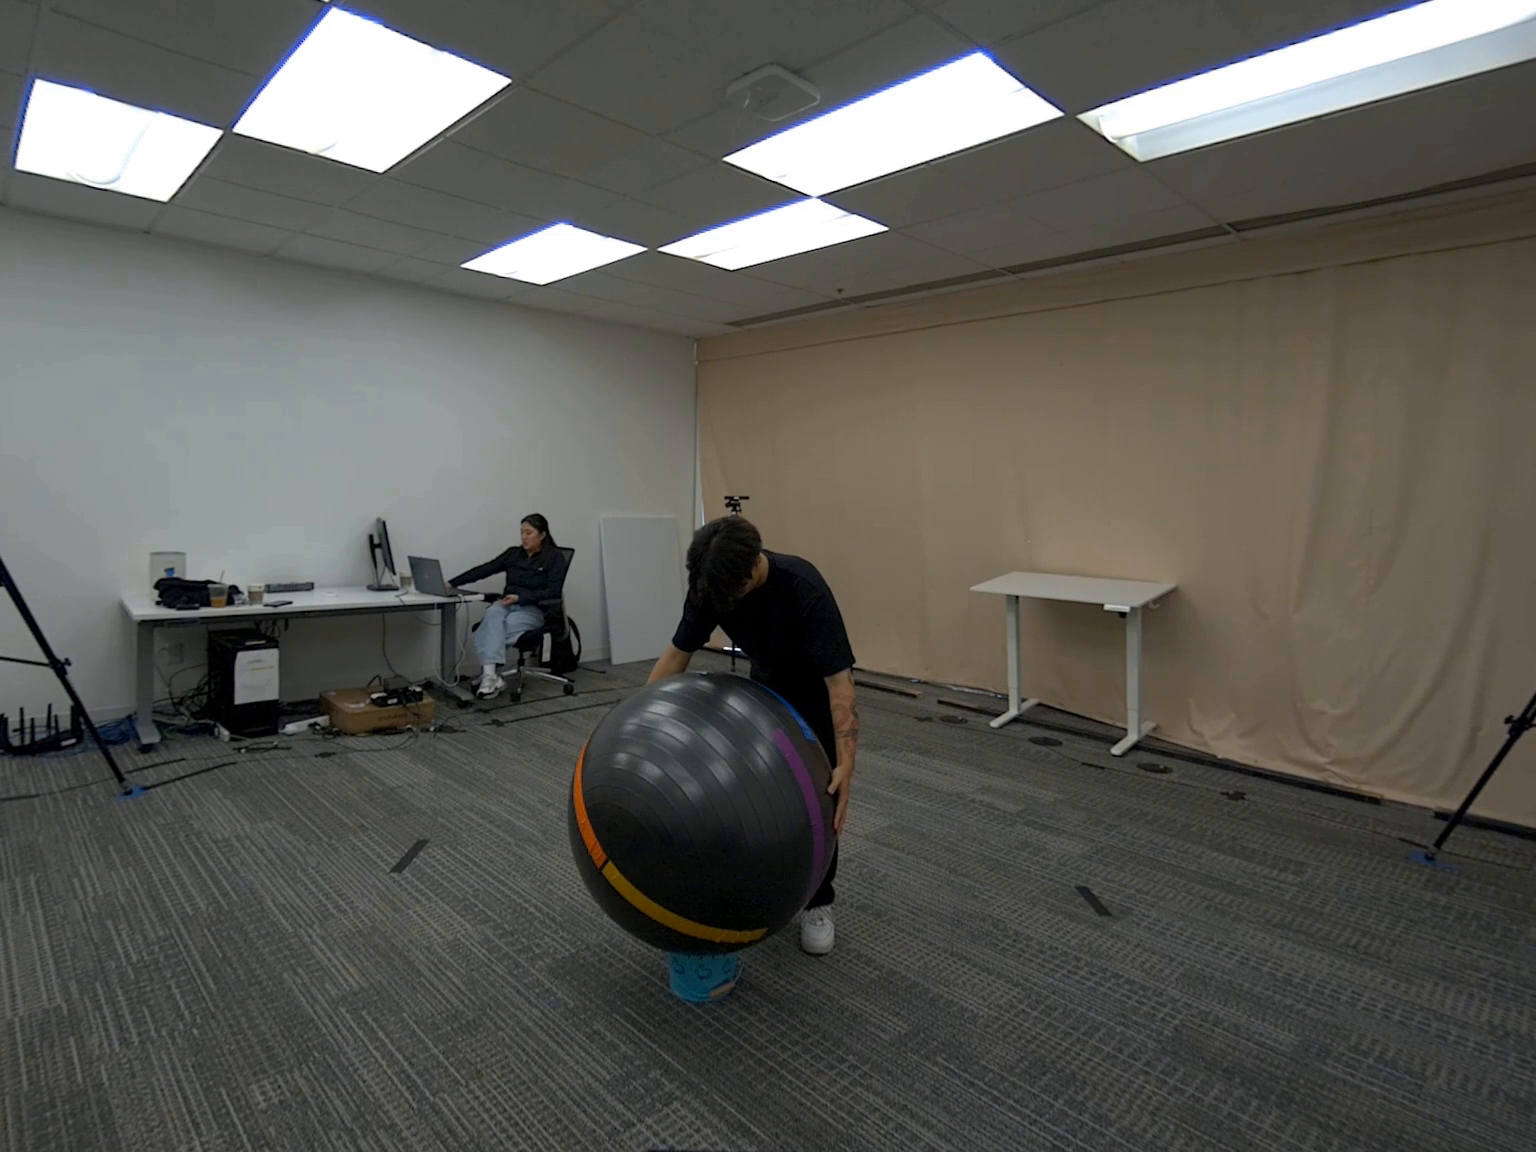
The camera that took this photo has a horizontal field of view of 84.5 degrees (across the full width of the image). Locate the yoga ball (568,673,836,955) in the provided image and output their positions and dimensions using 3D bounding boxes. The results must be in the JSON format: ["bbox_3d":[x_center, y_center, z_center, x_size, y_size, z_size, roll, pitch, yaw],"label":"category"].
[{"bbox_3d":[-0.187,0.663,2.371,0.757,0.756,0.761,1,4,-1],"label":"yoga ball"}]
